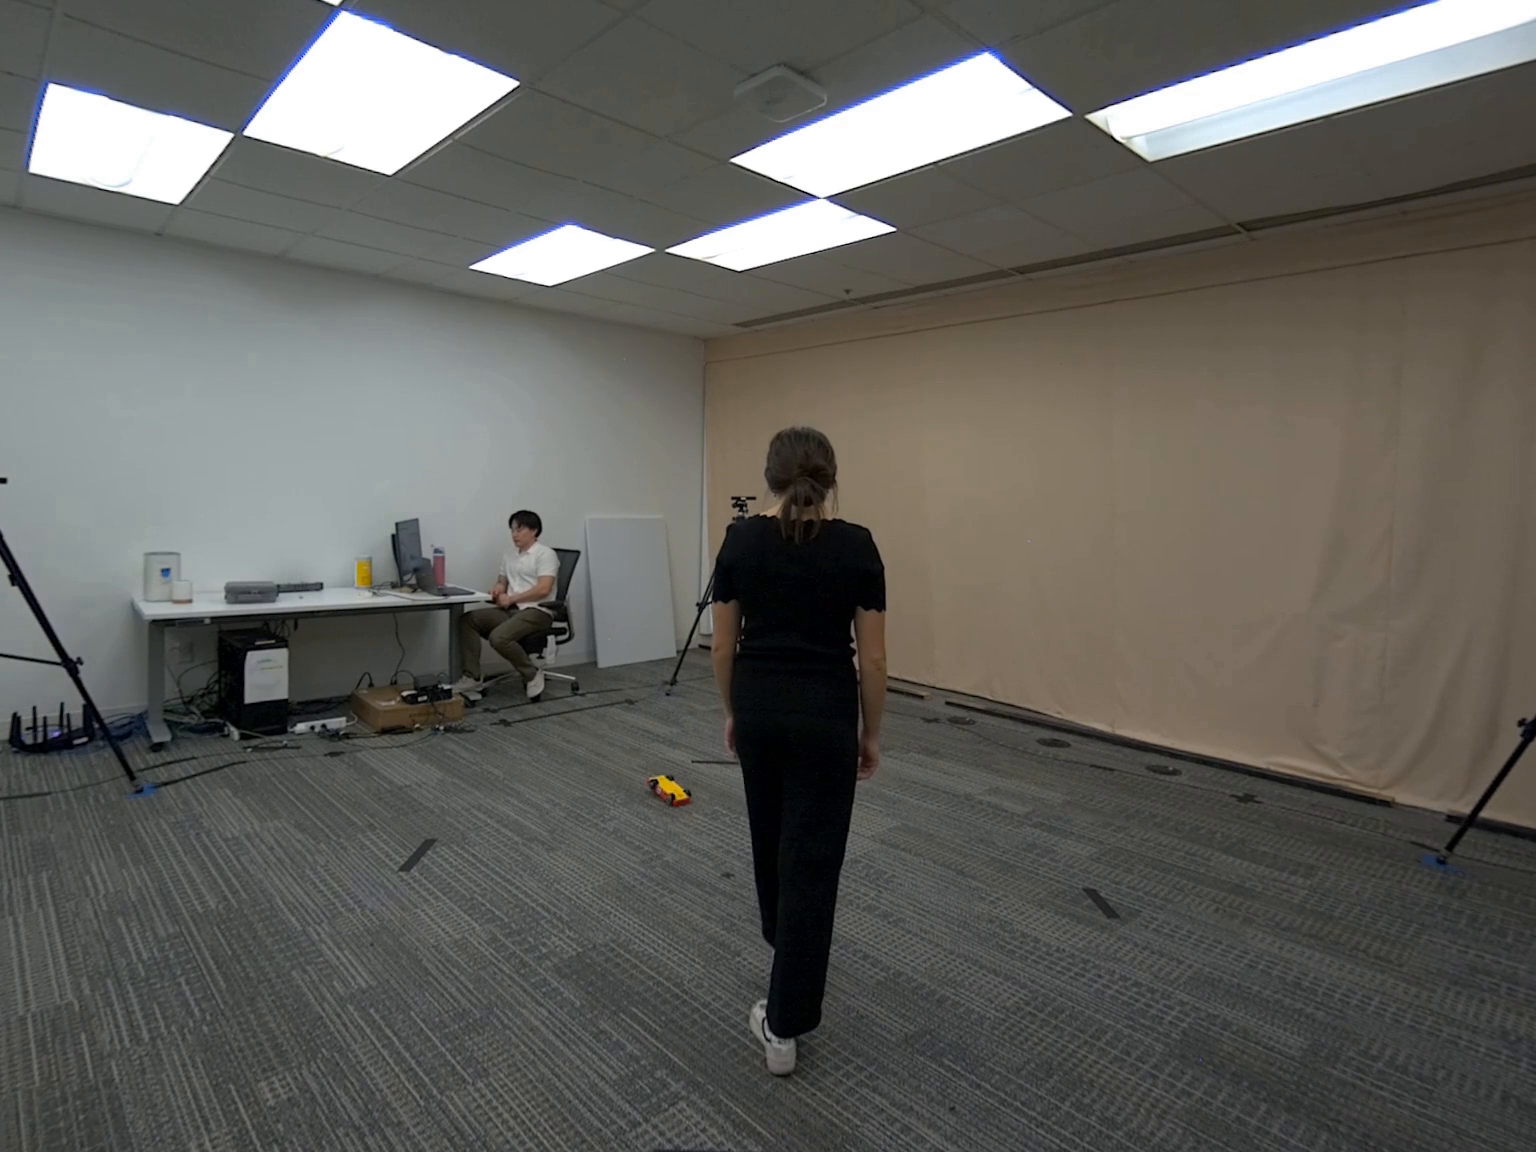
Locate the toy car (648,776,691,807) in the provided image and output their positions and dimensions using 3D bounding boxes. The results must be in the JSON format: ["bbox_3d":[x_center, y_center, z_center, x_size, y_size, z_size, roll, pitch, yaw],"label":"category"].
[{"bbox_3d":[-0.478,0.988,3.904,0.127,0.083,0.261,-3,6,-39],"label":"toy car"}]
